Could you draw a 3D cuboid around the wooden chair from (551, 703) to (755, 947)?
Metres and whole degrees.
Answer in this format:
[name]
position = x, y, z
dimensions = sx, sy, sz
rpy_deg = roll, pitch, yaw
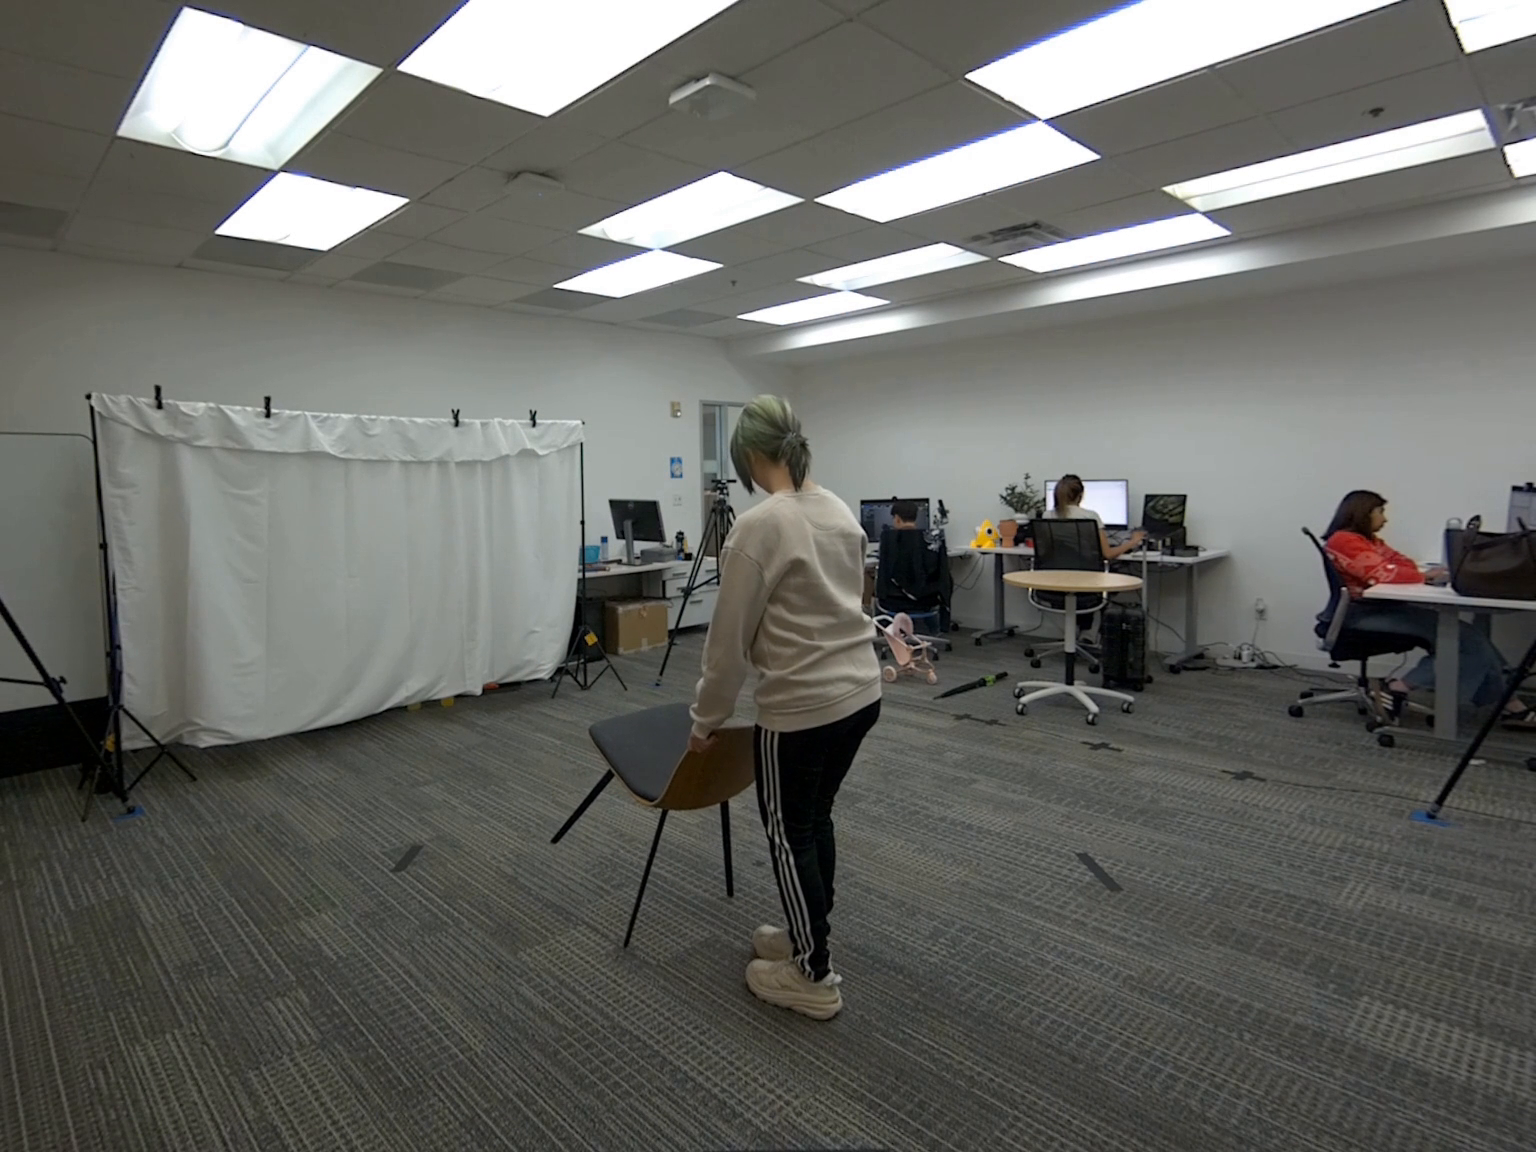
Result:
[wooden chair]
position = -0.293, 0.609, 2.698
dimensions = 0.465, 0.867, 0.543
rpy_deg = -6, 38, -45
